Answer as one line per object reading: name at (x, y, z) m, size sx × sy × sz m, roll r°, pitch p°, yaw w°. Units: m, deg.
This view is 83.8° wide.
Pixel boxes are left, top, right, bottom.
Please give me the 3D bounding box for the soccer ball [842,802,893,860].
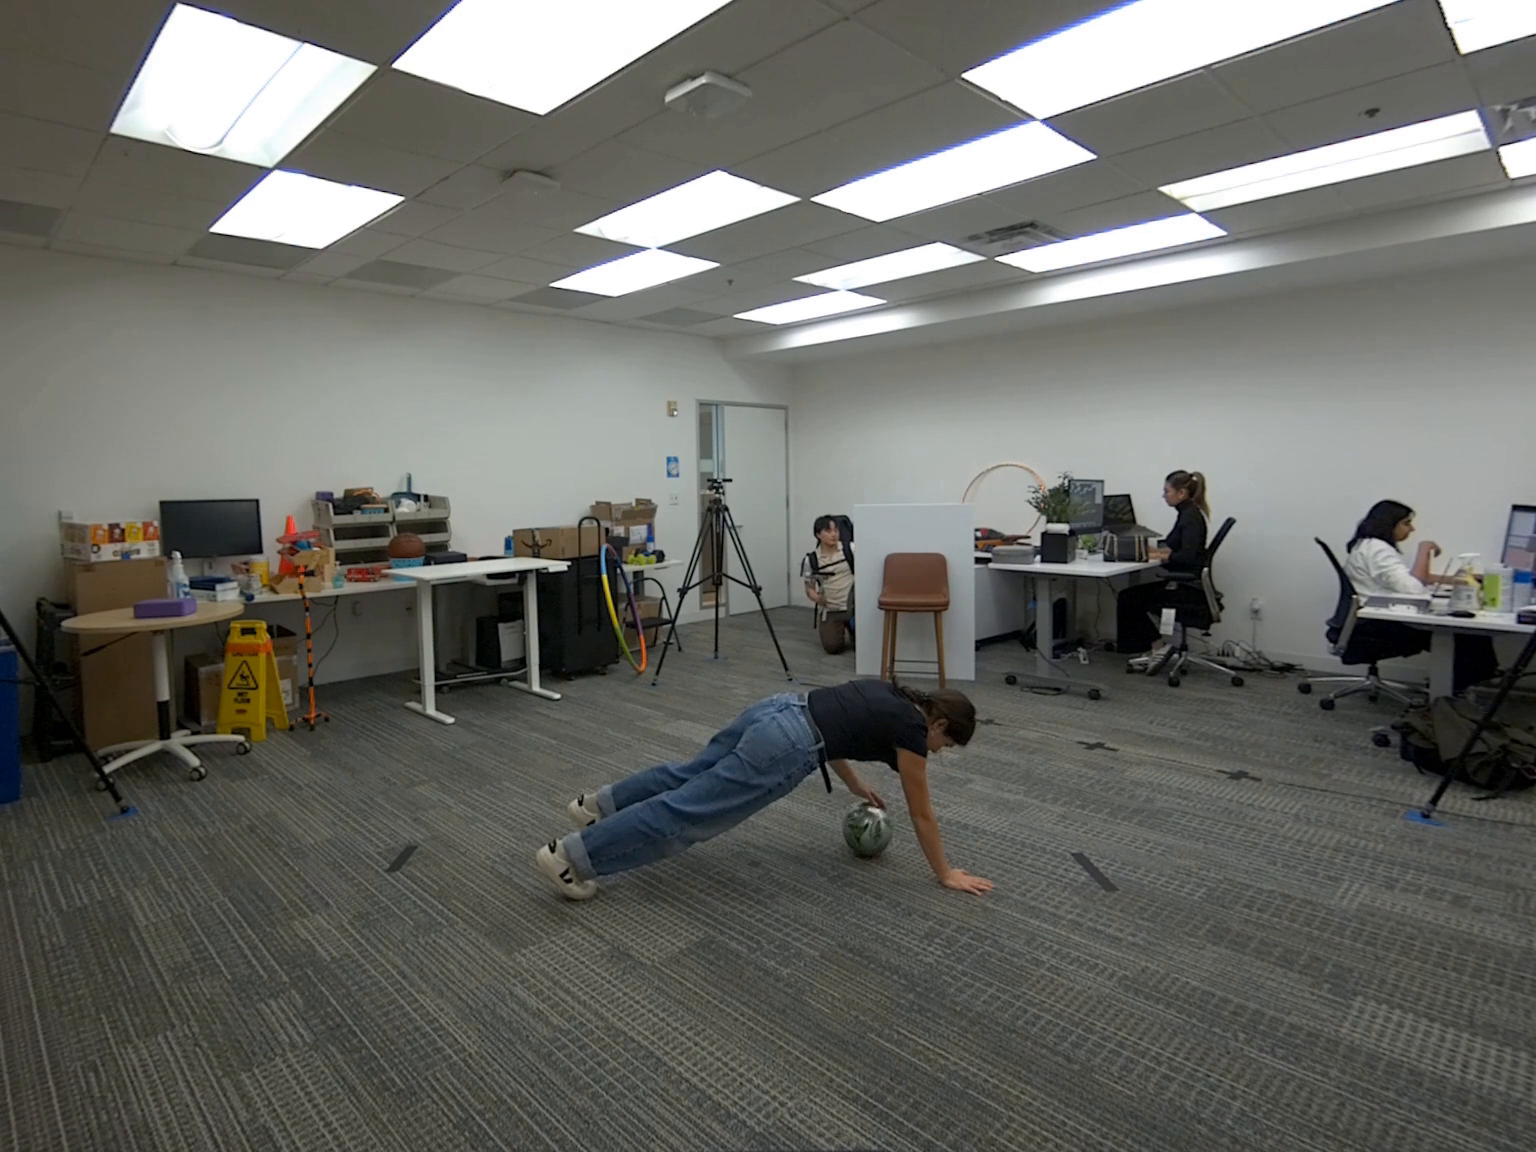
soccer ball at (0.371, 0.933, 3.159) m, size 0.187 × 0.187 × 0.188 m, roll -1°, pitch 5°, yaw -2°
